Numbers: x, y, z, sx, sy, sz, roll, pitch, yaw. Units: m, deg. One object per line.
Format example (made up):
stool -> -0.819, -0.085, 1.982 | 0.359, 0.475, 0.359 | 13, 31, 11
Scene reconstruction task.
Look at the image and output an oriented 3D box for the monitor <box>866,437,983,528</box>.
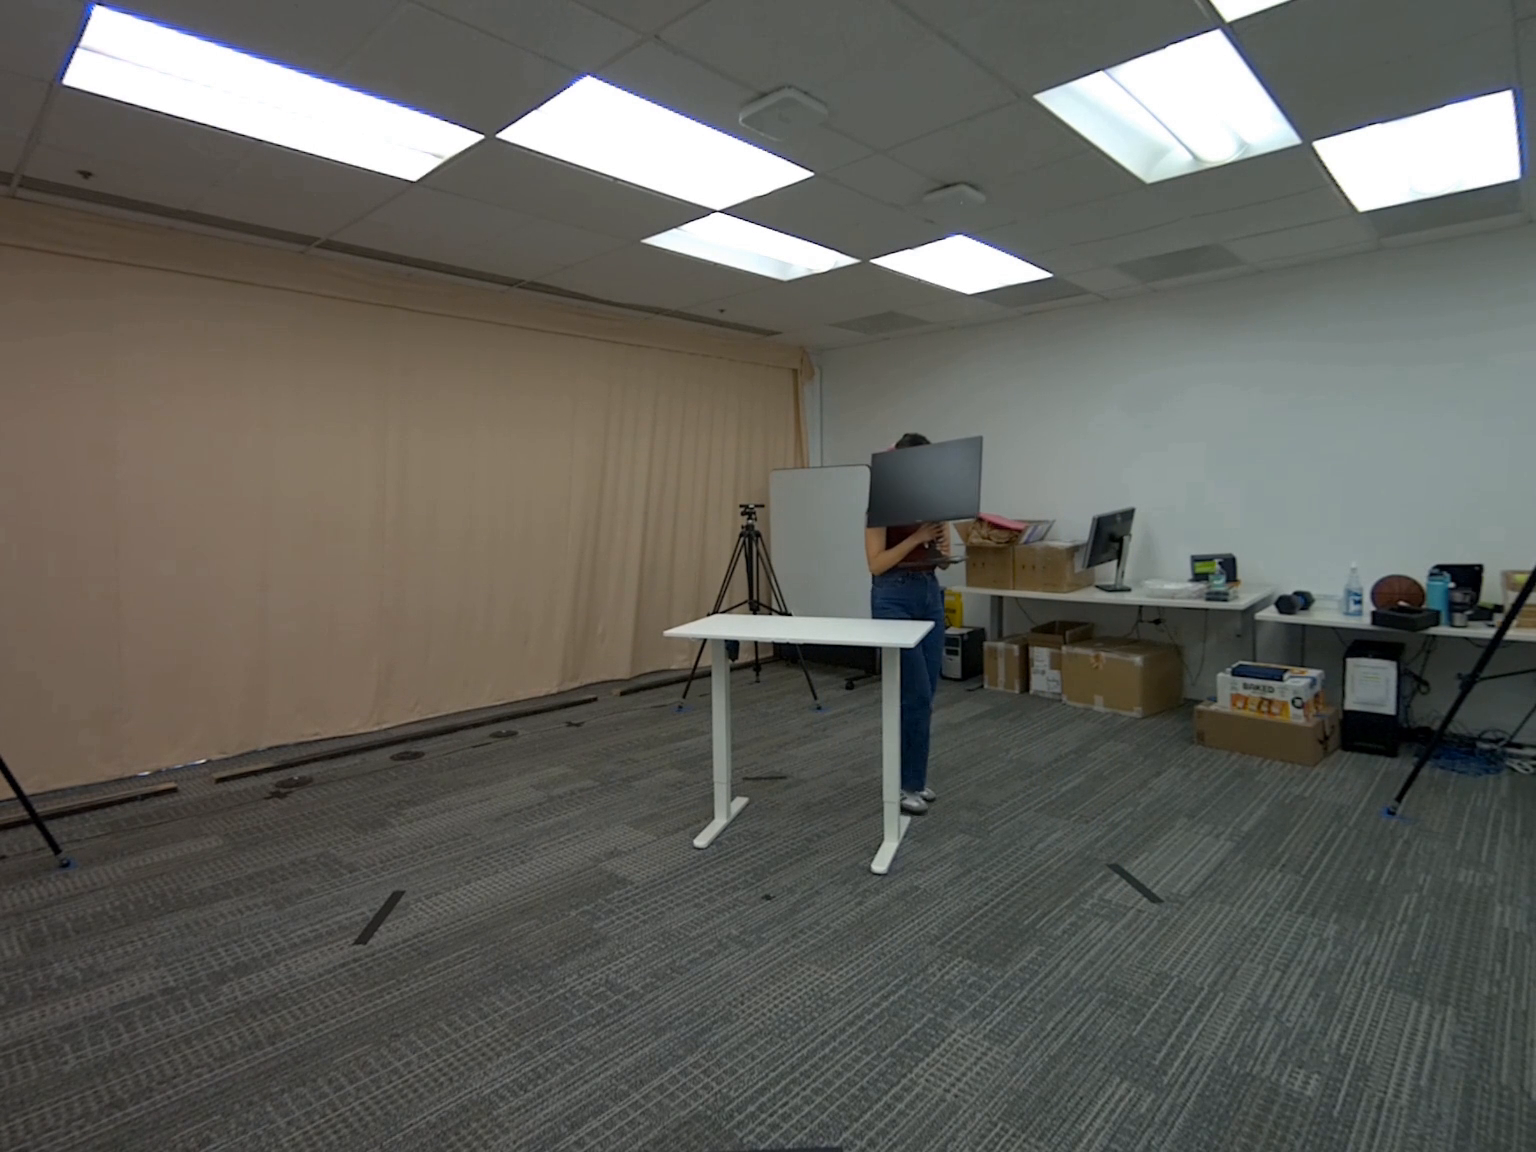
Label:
monitor -> 0.692, -0.309, 3.657 | 0.555, 0.523, 0.181 | -4, -1, 39
